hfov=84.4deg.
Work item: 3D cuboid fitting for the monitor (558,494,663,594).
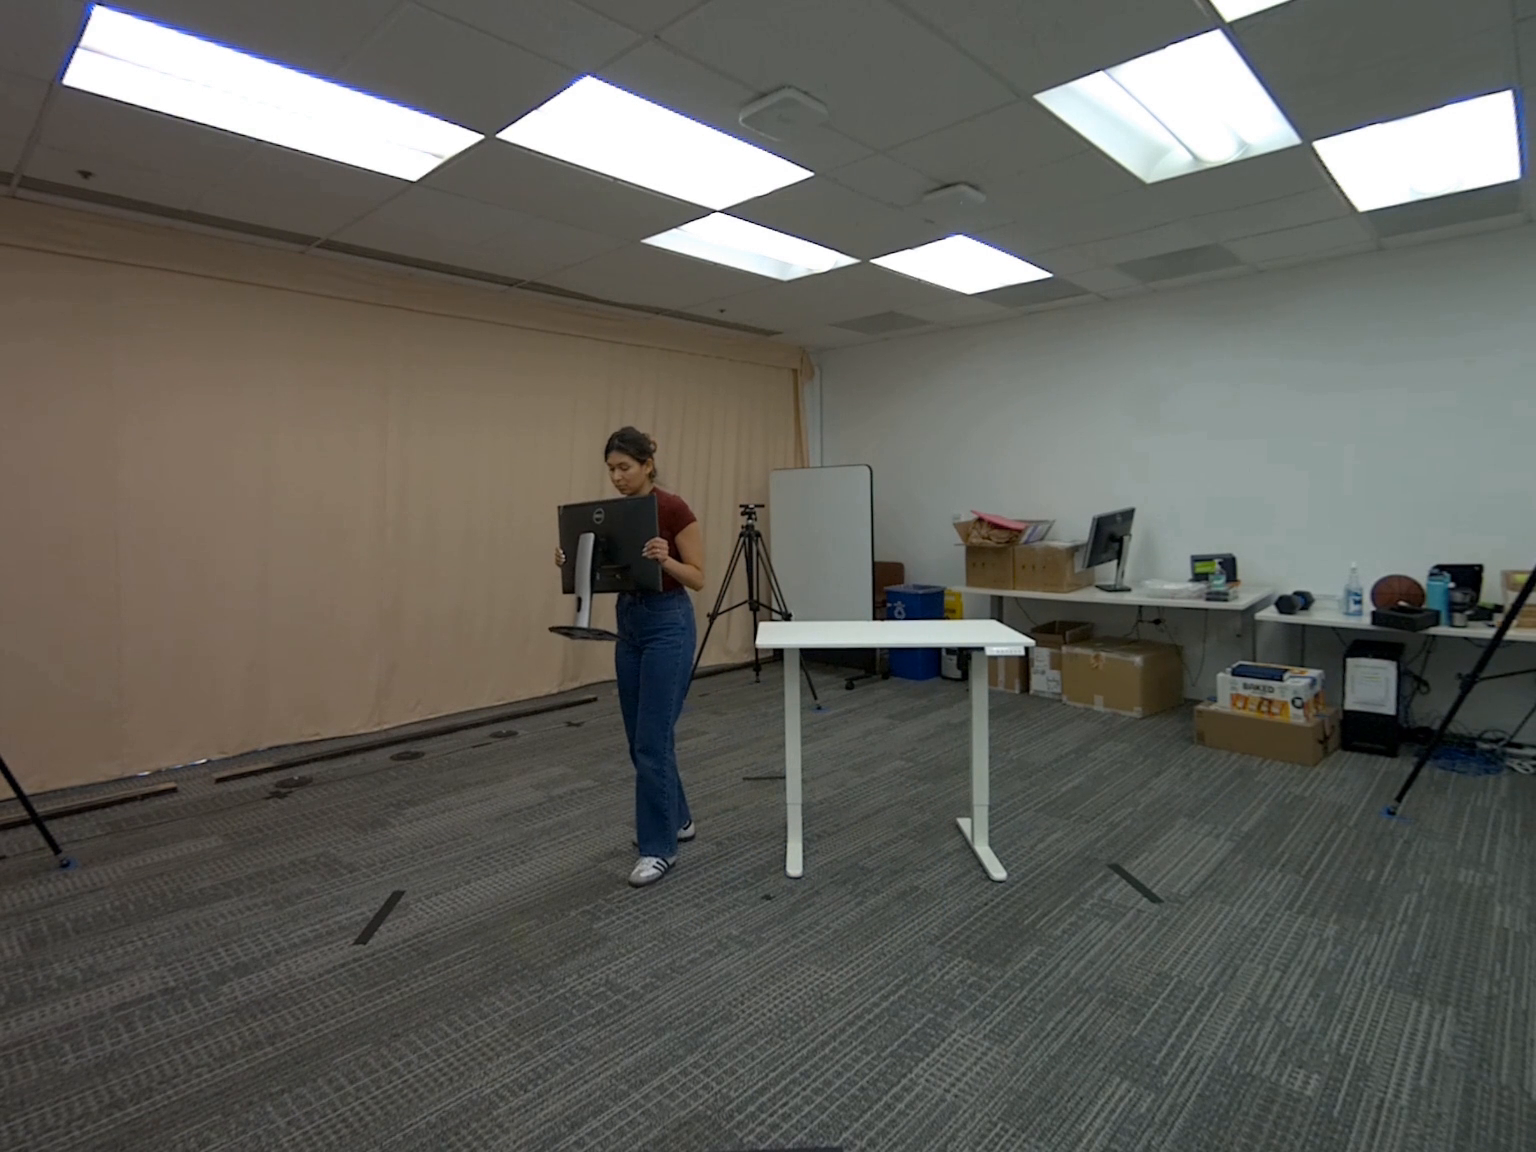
[{"bbox_3d":[-0.633,-0.028,3.131,0.555,0.526,0.180,-3,-14,38],"label":"monitor"}]
